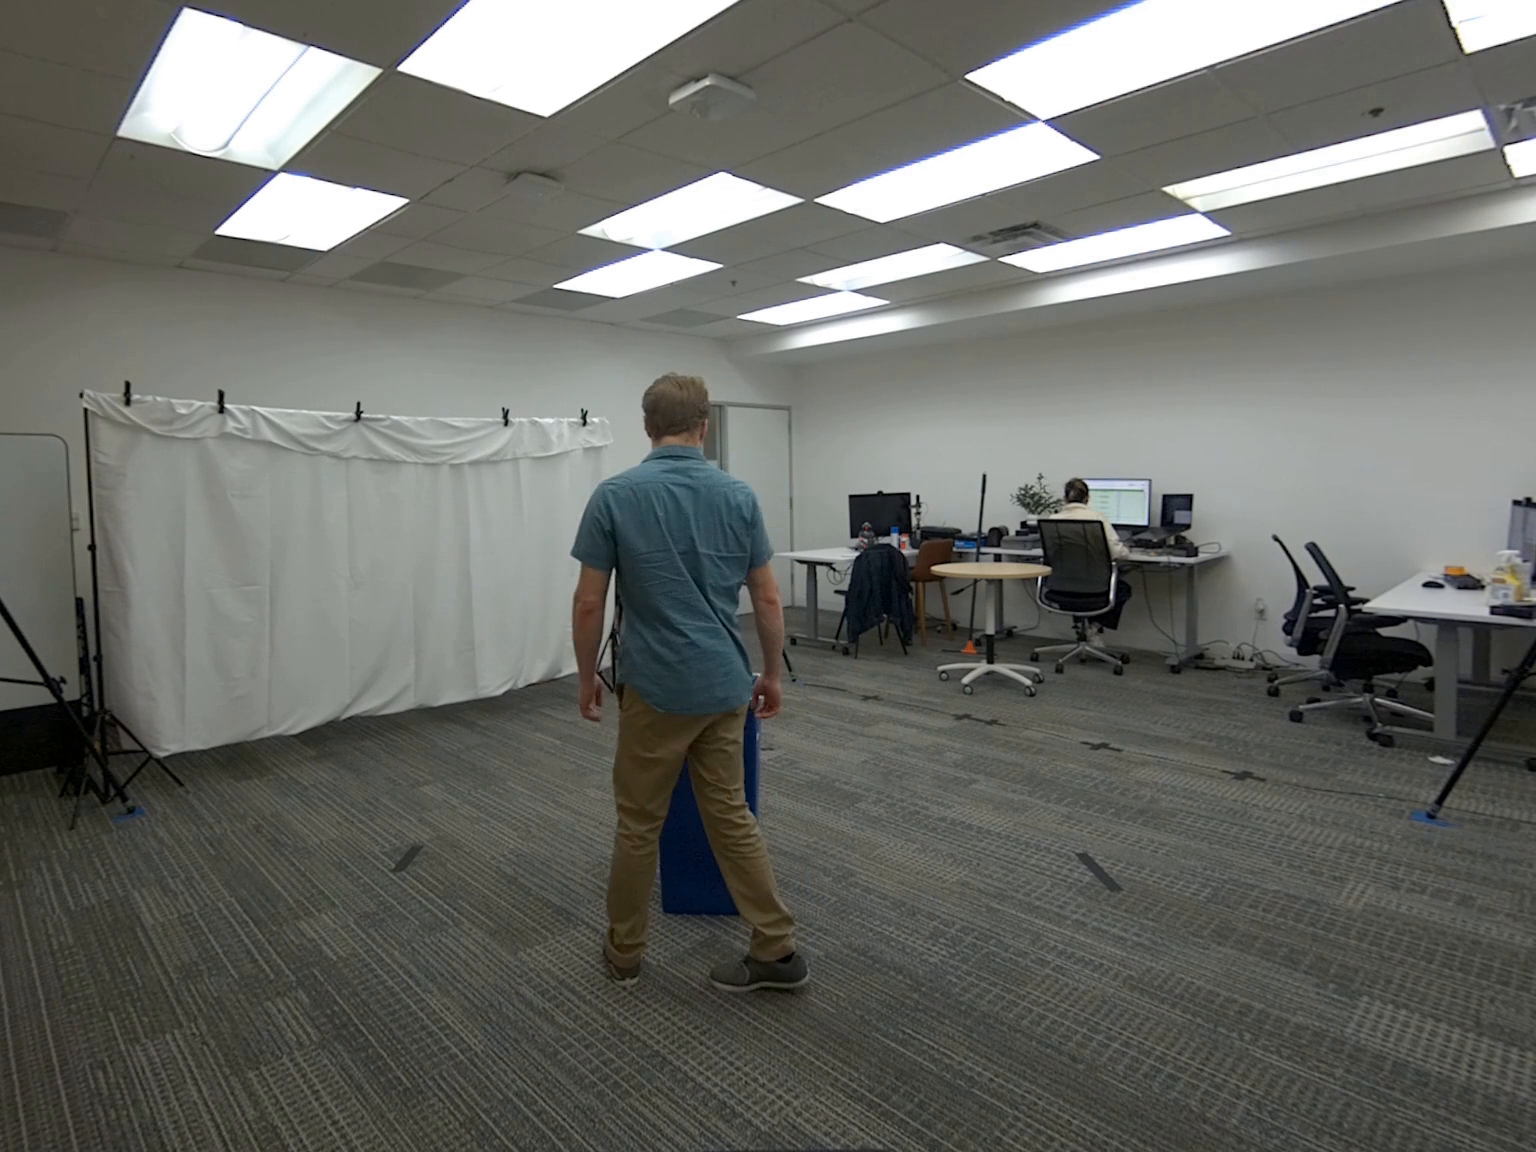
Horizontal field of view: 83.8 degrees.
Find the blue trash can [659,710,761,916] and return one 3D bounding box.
[{"bbox_3d":[-0.179,0.724,2.878,0.375,0.711,0.378,-1,3,2],"label":"blue trash can"}]
